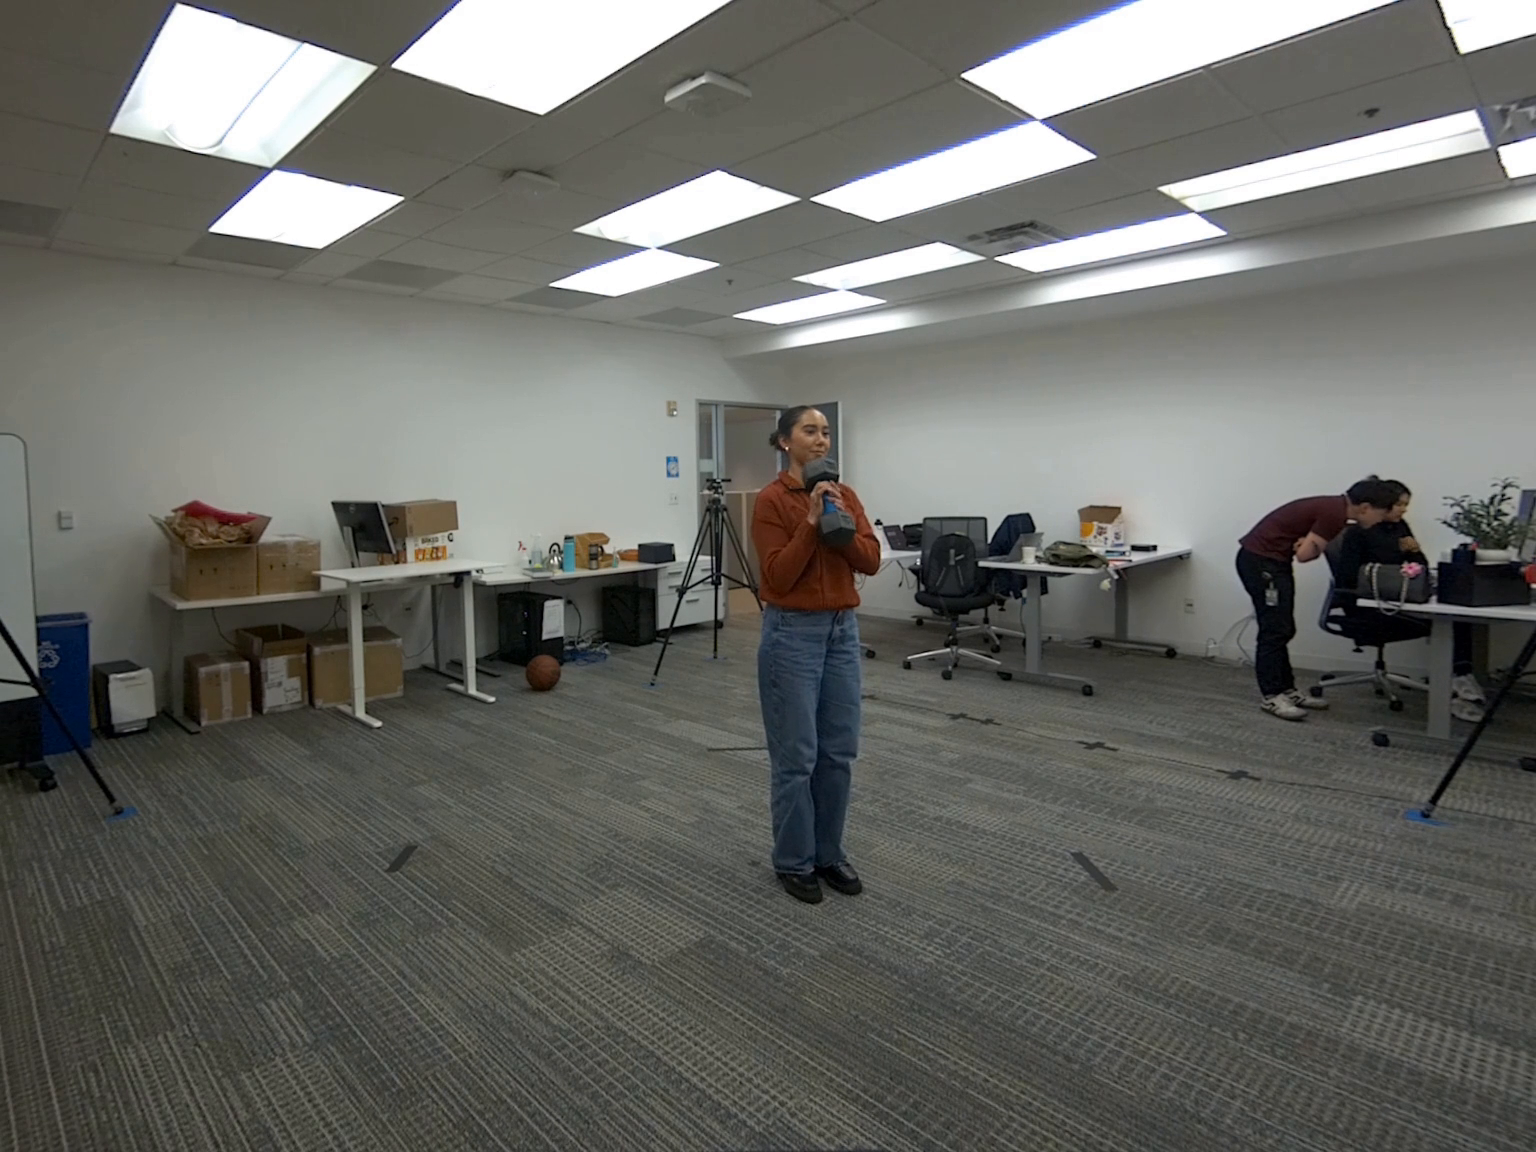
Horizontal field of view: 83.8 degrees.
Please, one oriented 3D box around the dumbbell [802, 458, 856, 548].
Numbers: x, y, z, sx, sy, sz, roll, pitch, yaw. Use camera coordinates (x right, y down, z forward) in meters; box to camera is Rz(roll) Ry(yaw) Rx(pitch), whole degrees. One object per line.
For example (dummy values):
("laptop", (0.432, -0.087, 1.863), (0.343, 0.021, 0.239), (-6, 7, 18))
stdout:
("dumbbell", (0.192, -0.241, 2.742), (0.108, 0.302, 0.120), (-7, -31, -8))
